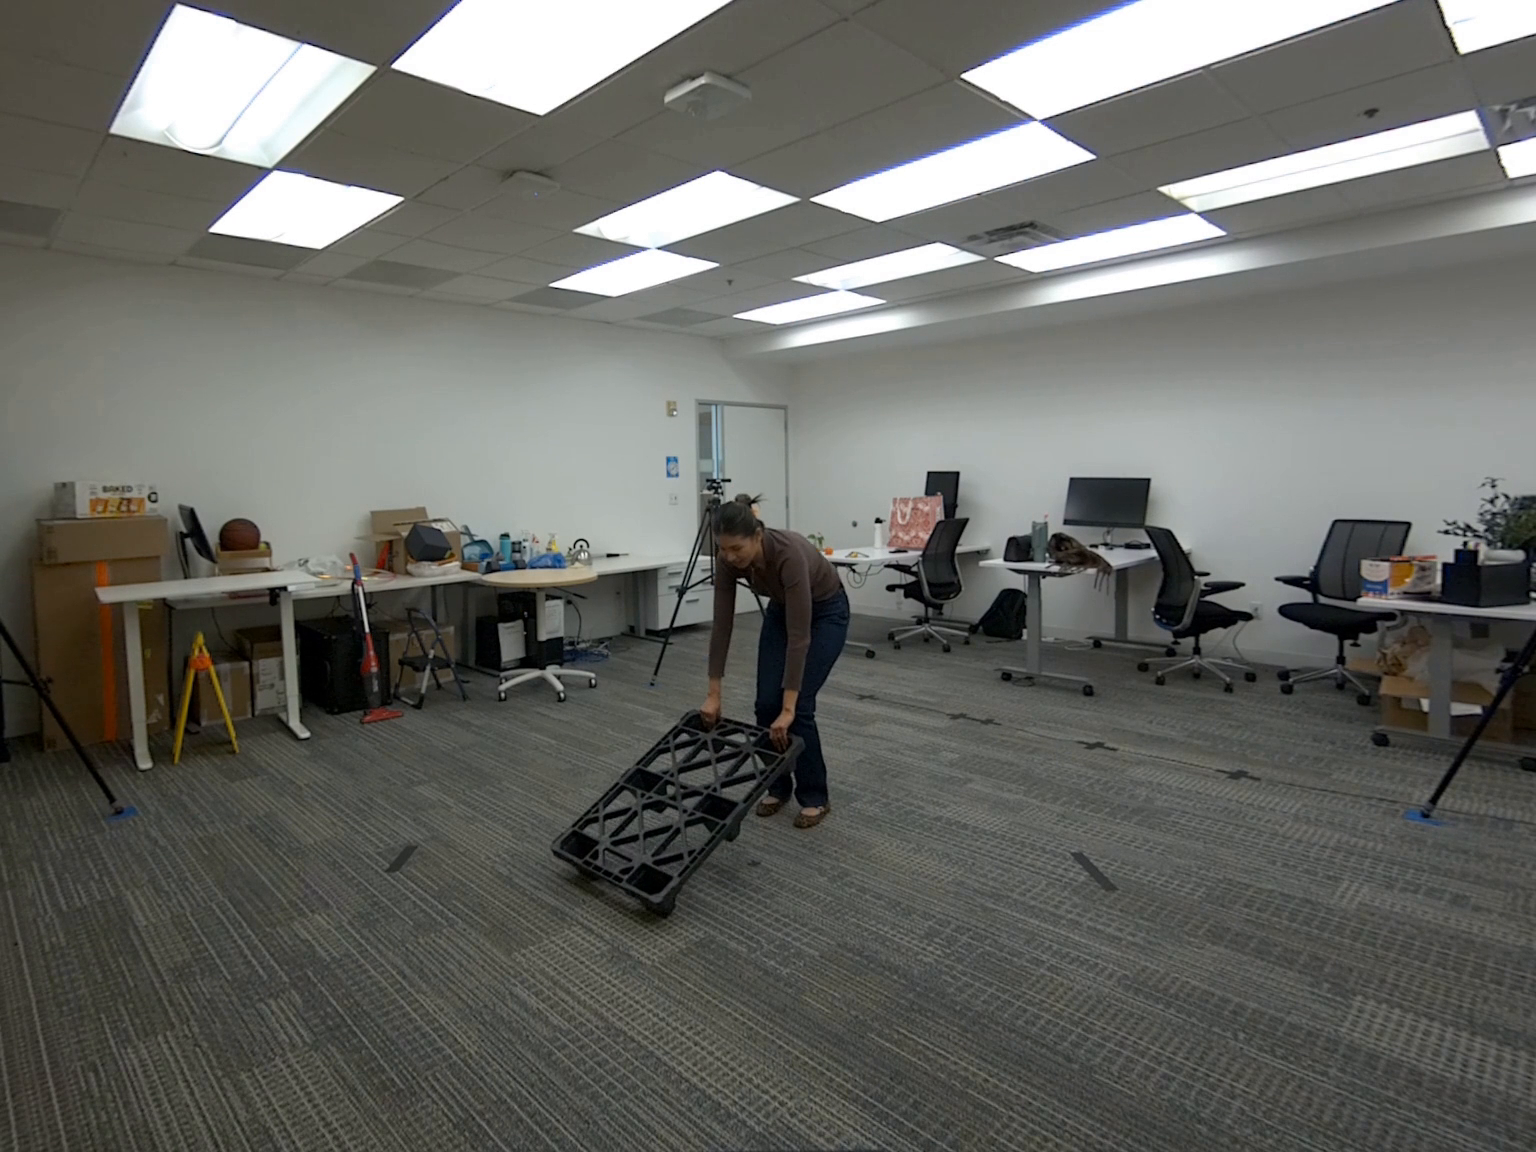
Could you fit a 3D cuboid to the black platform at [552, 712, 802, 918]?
[{"bbox_3d":[-0.298,0.830,3.093,0.624,0.139,0.802,5,35,42],"label":"black platform"}]
